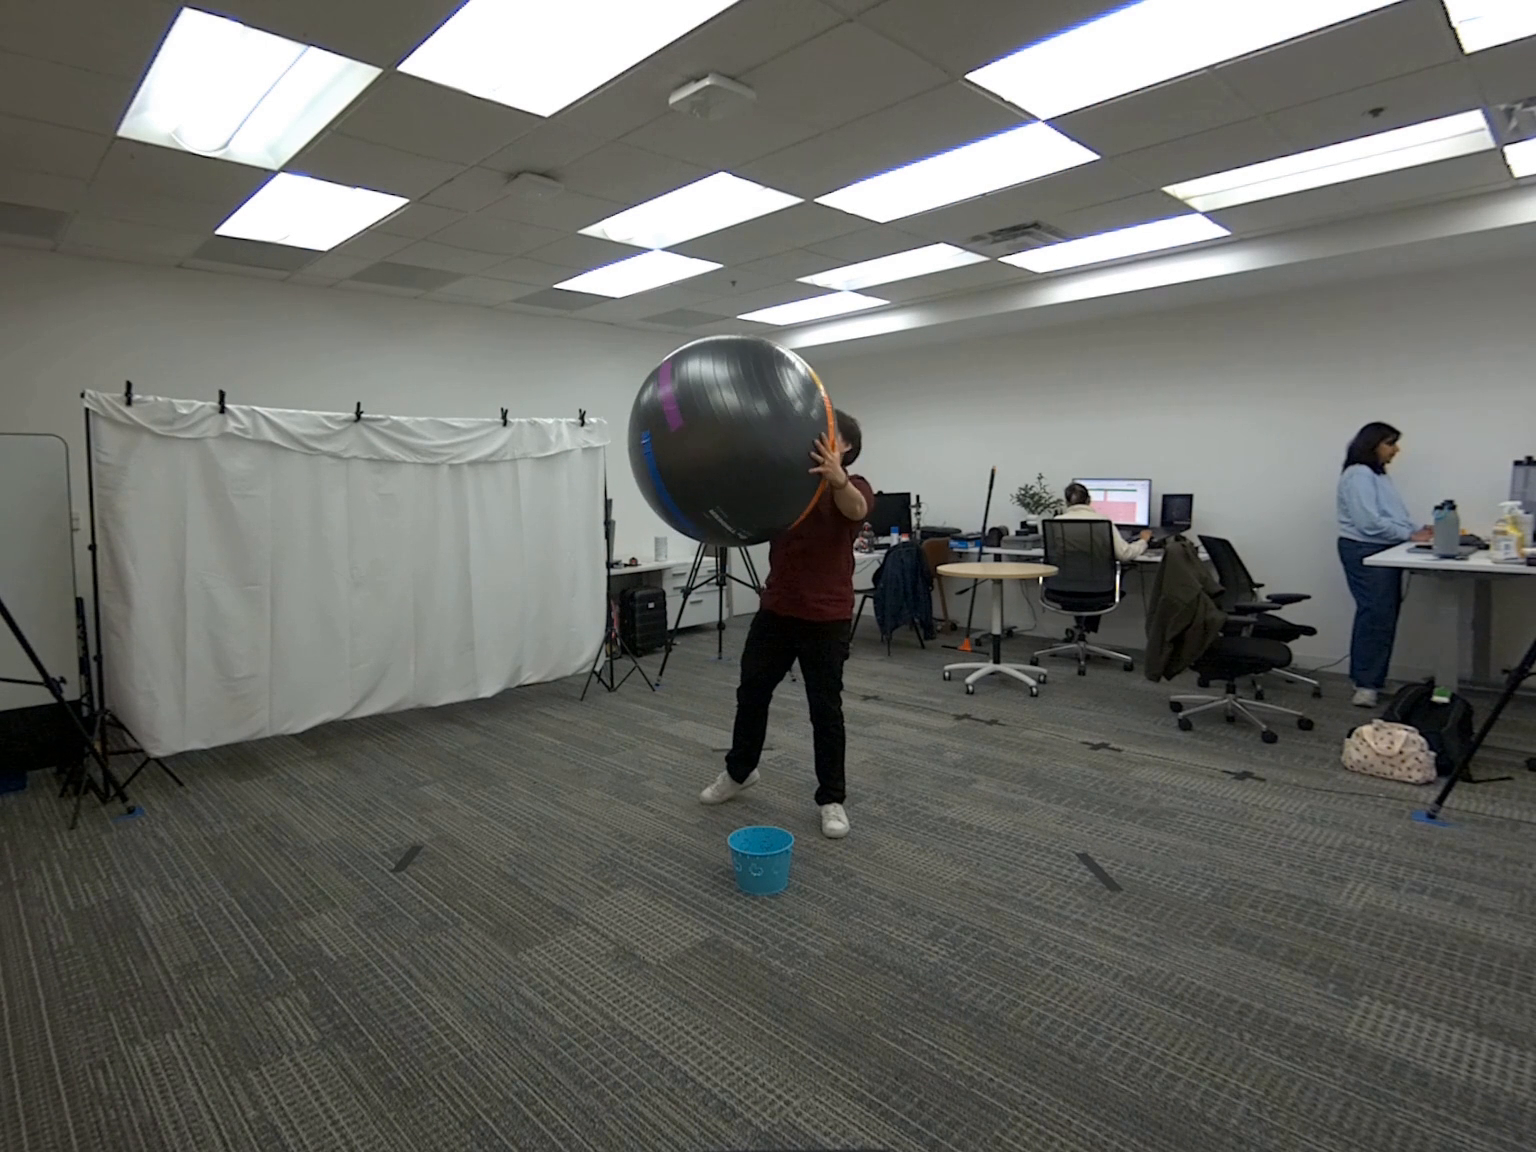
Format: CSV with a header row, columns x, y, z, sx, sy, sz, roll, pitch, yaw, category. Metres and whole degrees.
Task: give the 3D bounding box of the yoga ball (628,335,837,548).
x,y,z,sx,sy,sz,roll,pitch,yaw,category
-0.129,-0.484,3.091,0.757,0.755,0.762,-1,5,-2,yoga ball
